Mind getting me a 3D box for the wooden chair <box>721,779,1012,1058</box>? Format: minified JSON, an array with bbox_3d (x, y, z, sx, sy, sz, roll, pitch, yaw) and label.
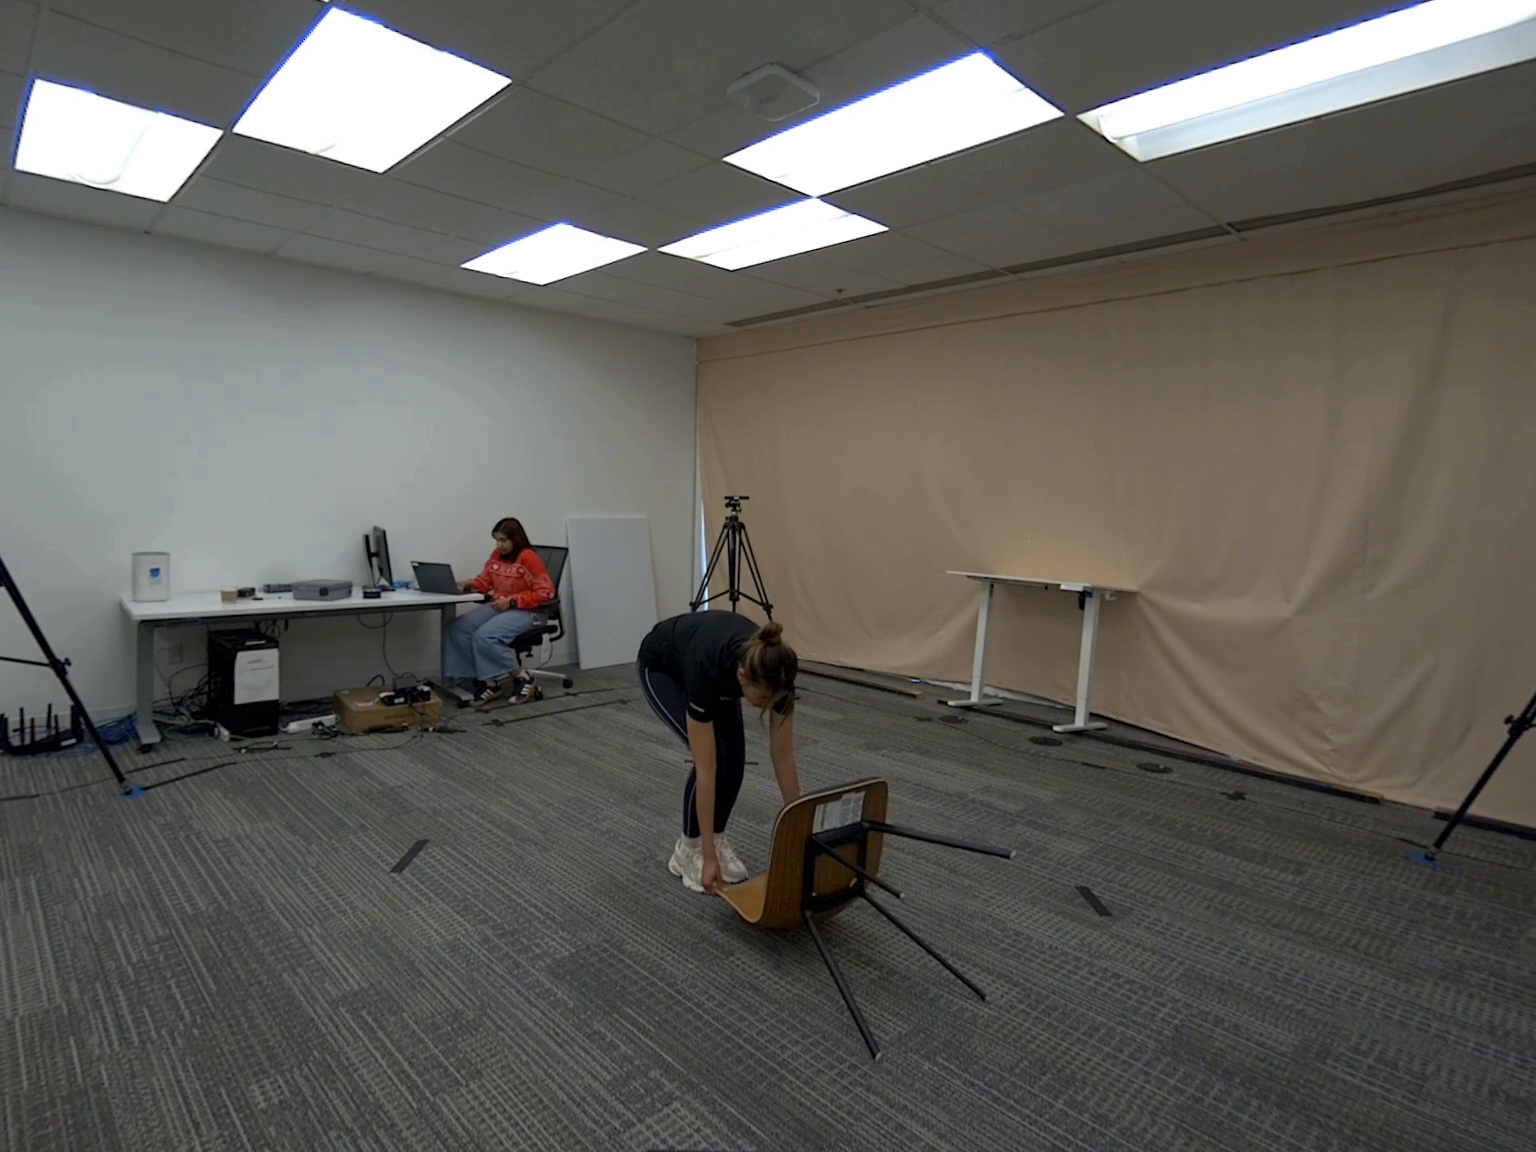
[{"bbox_3d":[0.202,0.873,2.528,0.467,0.520,0.901,-2,10,-37],"label":"wooden chair"}]
